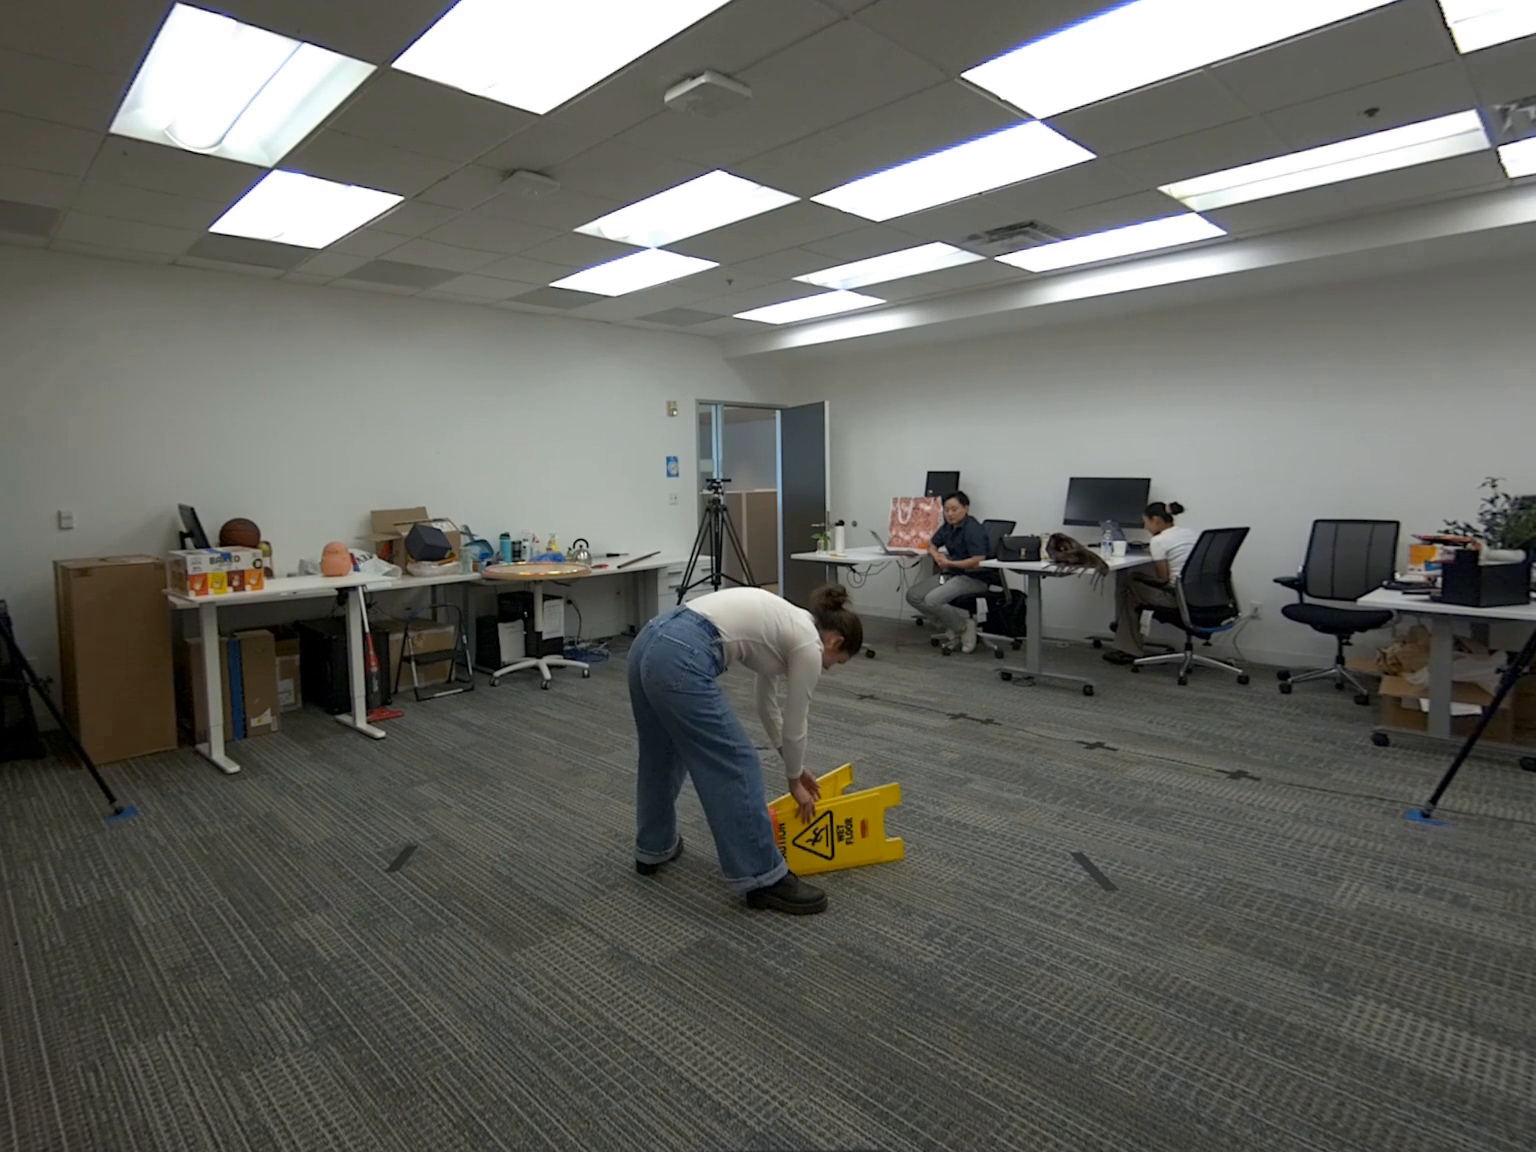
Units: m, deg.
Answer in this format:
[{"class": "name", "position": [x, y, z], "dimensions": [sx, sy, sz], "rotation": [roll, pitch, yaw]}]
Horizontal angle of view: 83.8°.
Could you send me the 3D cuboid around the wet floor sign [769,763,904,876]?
[{"class": "wet floor sign", "position": [0.144, 0.914, 3.079], "dimensions": [0.632, 0.281, 0.297], "rotation": [-8, 5, -31]}]
